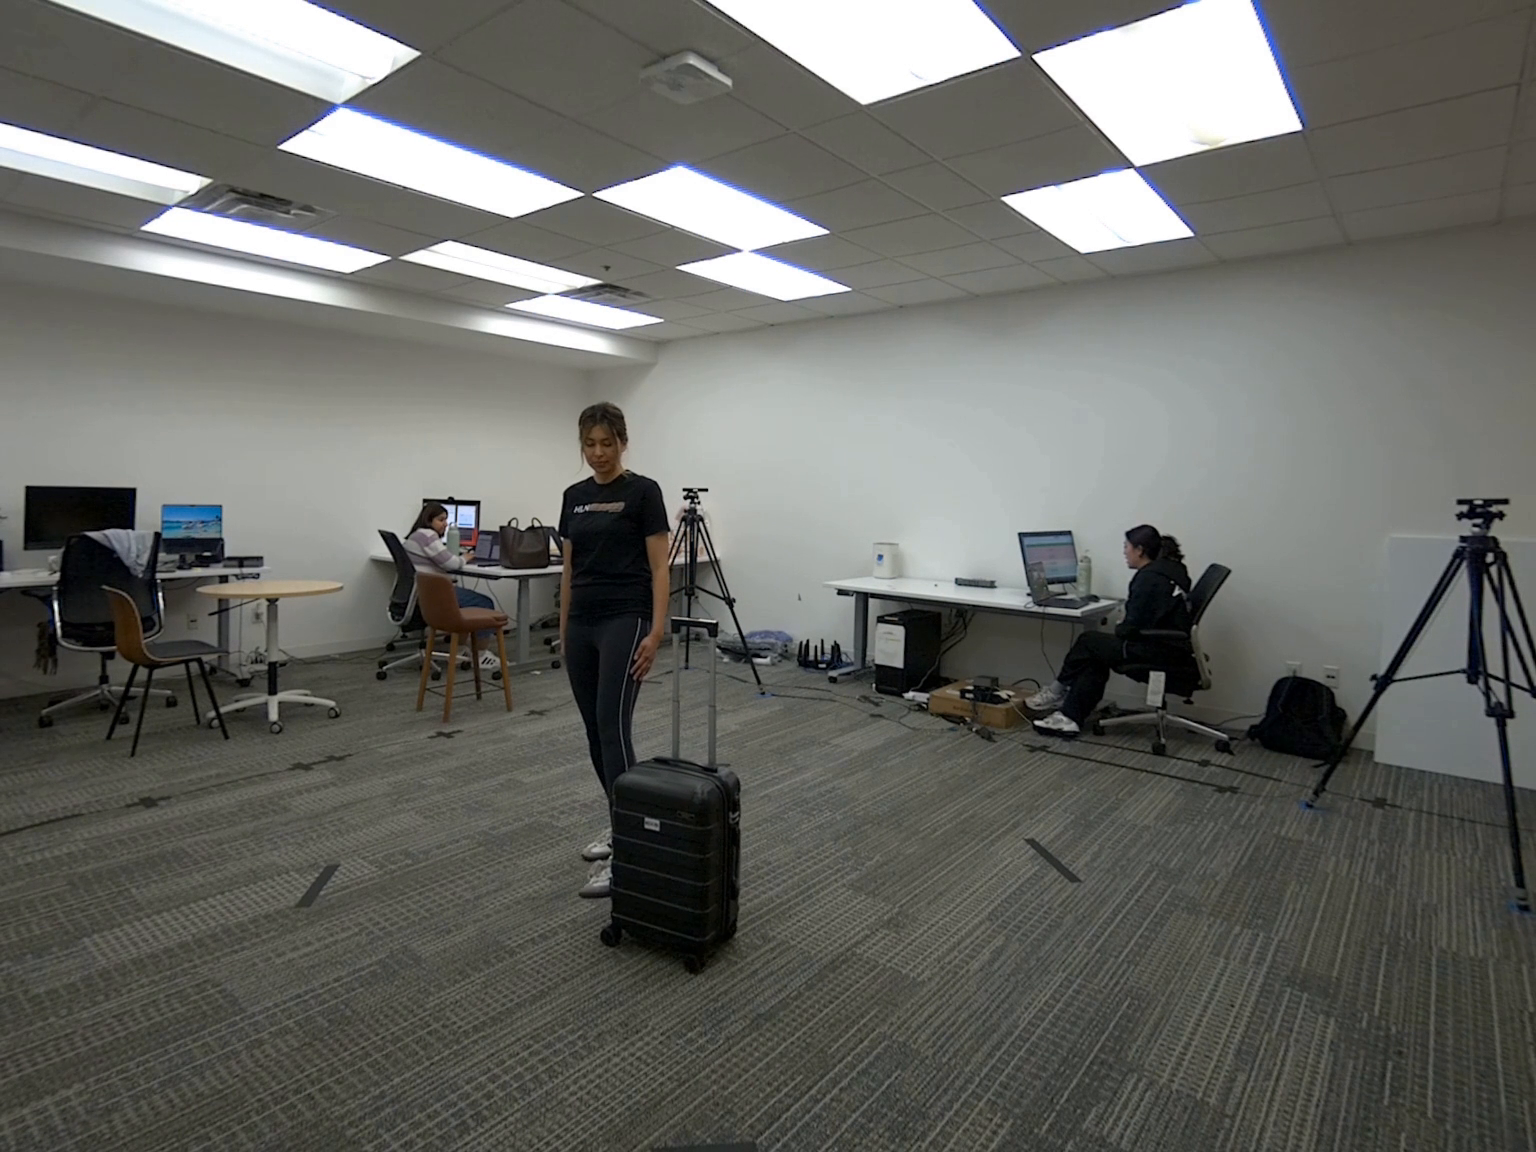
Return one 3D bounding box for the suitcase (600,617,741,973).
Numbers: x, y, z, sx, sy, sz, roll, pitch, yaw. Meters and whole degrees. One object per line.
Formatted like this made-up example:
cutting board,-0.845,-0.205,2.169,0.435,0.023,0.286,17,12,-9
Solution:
suitcase,-0.278,0.644,2.563,0.394,0.974,0.251,4,5,24
